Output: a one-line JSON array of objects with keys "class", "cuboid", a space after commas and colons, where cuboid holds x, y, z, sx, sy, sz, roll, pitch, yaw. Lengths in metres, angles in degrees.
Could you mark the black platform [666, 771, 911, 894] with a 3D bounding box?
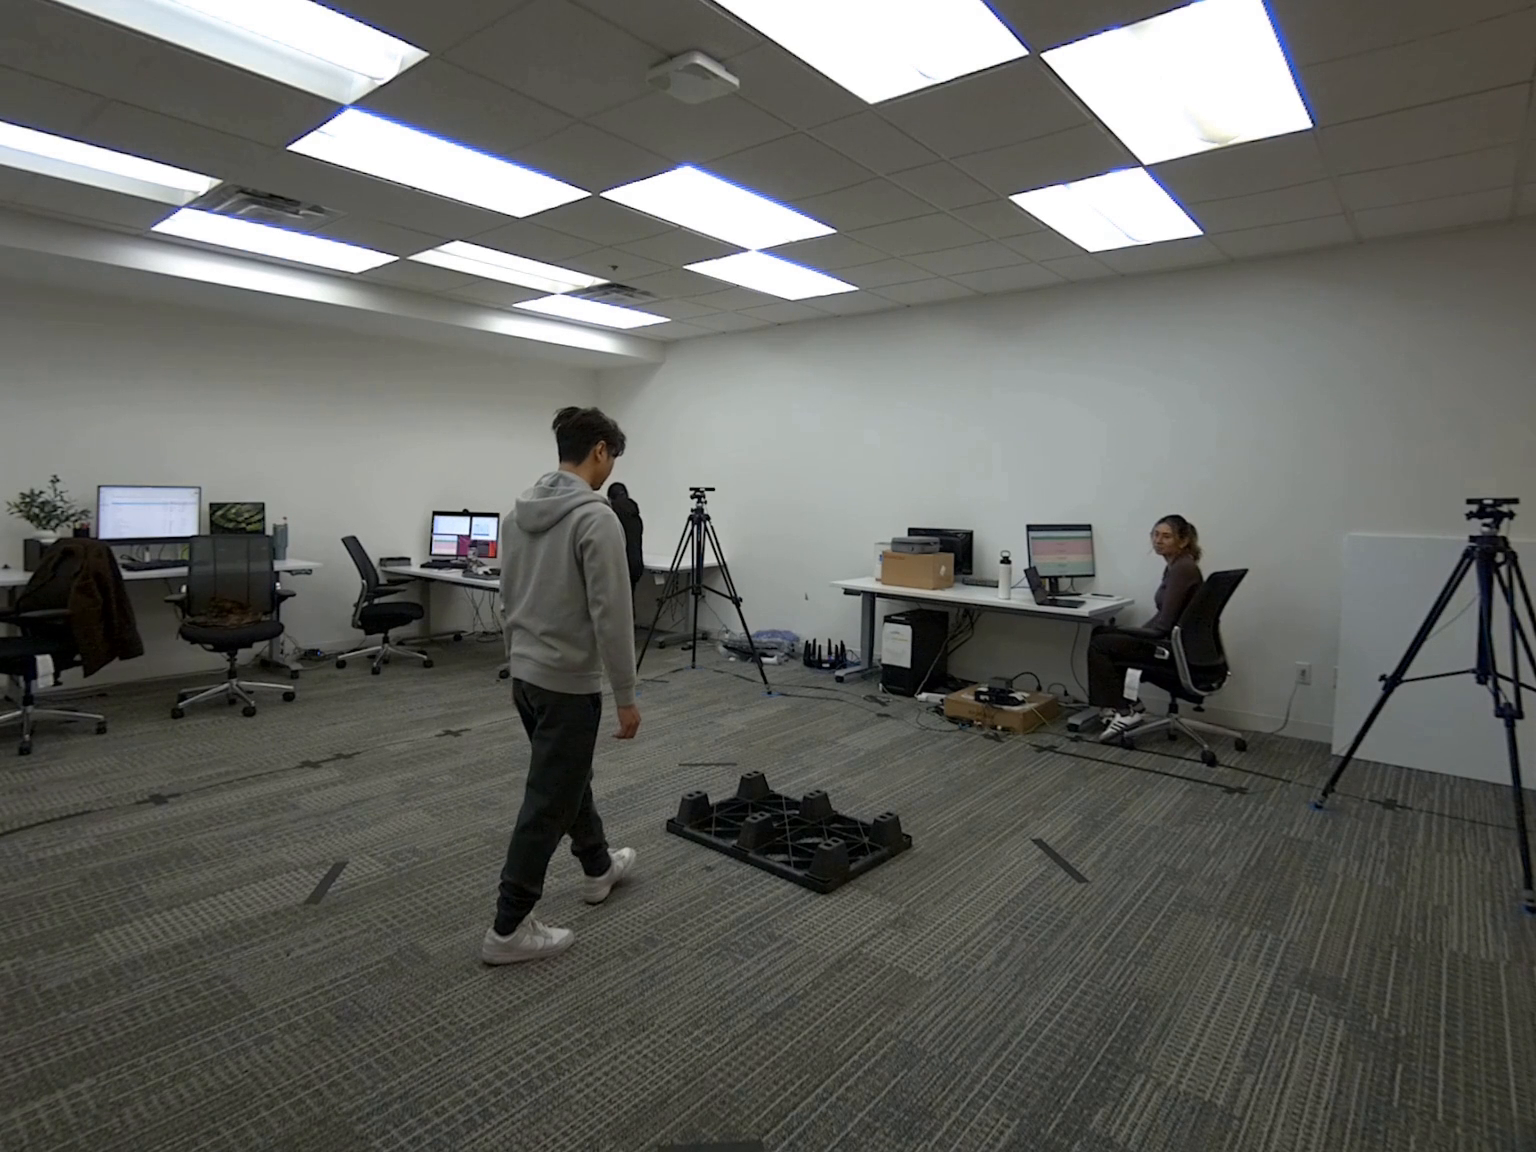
[{"class": "black platform", "cuboid": [0.063, 0.977, 3.399, 0.833, 0.143, 0.587, 6, 7, 40]}]
